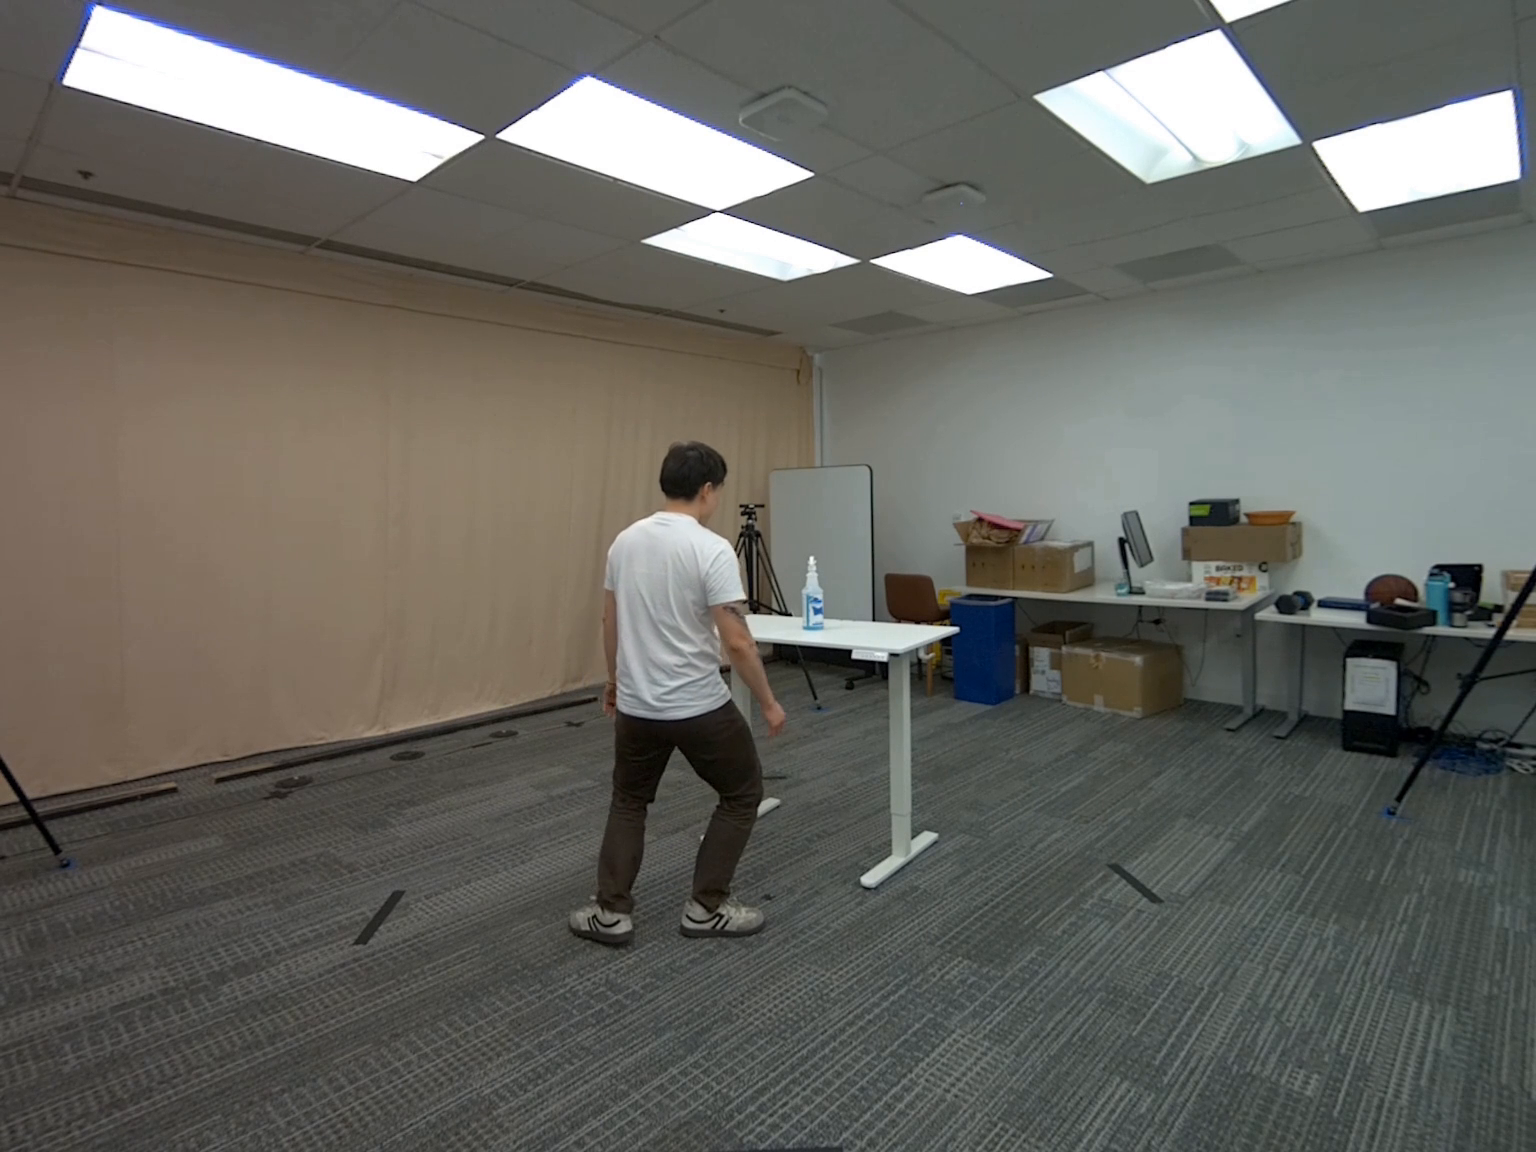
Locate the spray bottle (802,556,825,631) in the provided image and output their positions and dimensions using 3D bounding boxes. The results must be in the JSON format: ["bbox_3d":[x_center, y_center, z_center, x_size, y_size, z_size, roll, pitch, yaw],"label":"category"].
[{"bbox_3d":[0.185,0.071,3.433,0.089,0.297,0.087,-1,2,30],"label":"spray bottle"}]
